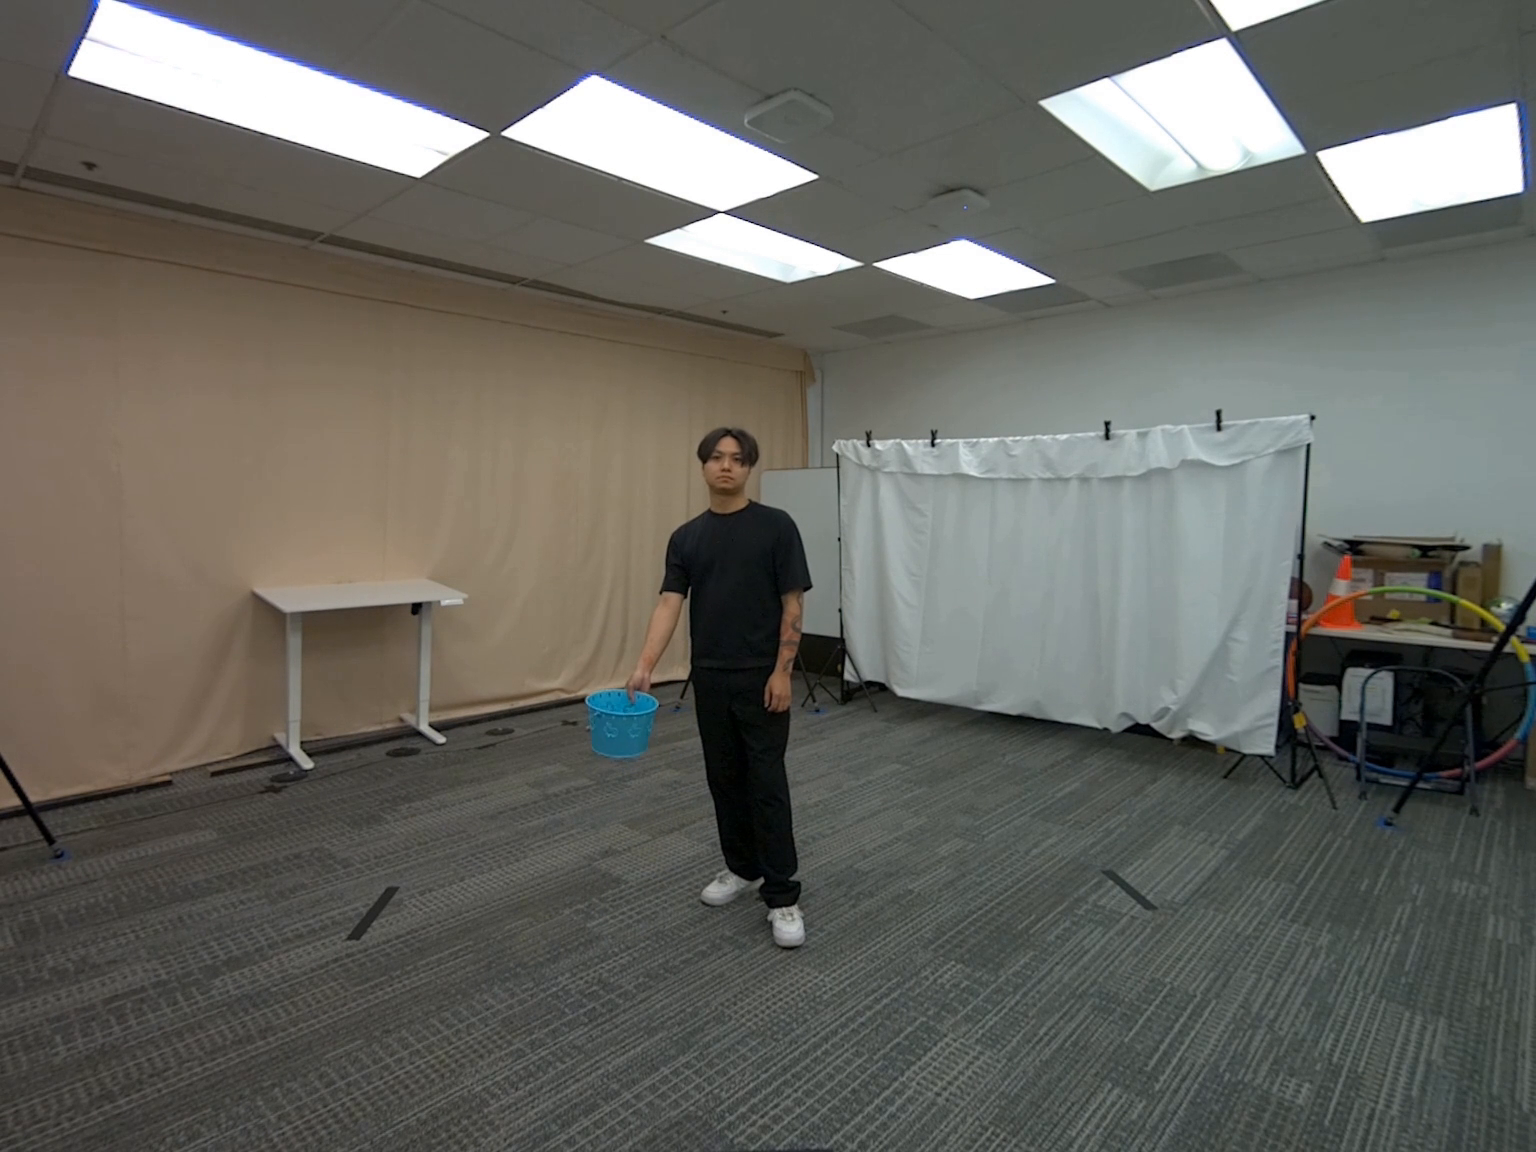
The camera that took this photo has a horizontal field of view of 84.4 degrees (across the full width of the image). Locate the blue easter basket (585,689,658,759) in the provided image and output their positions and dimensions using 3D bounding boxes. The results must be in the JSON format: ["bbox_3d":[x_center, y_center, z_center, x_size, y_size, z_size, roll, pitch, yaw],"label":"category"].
[{"bbox_3d":[-0.475,0.481,2.716,0.243,0.155,0.245,4,9,-3],"label":"blue easter basket"}]
